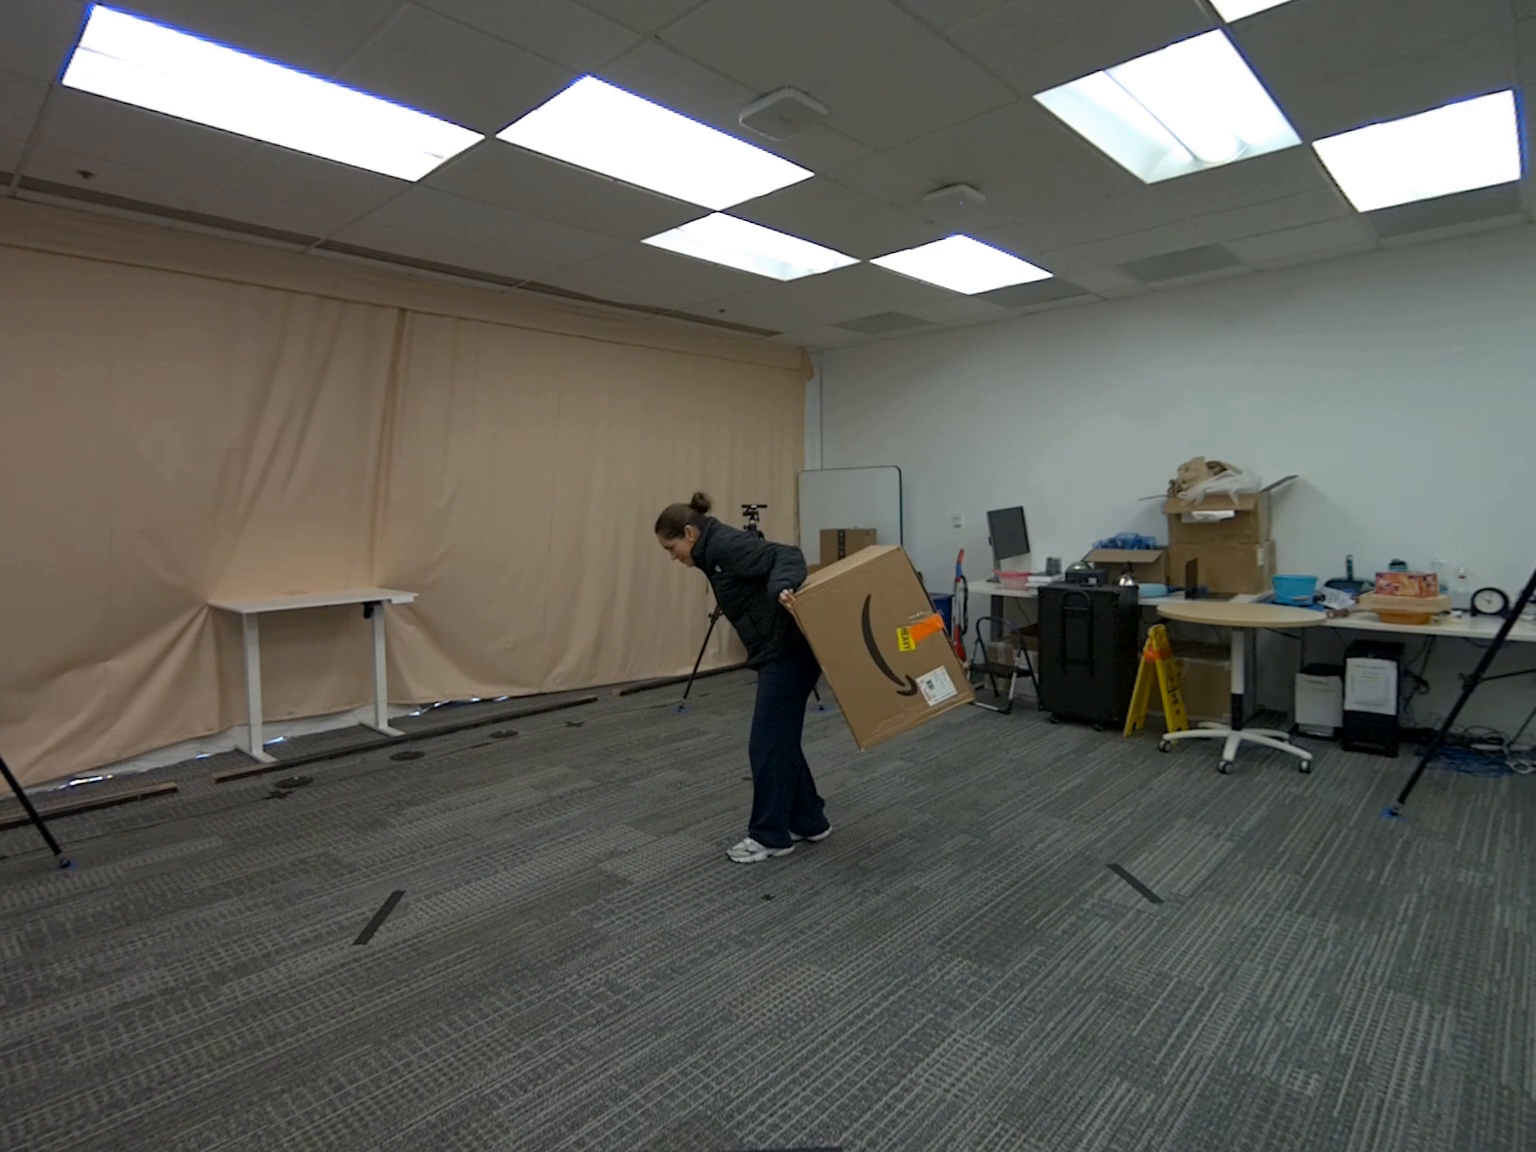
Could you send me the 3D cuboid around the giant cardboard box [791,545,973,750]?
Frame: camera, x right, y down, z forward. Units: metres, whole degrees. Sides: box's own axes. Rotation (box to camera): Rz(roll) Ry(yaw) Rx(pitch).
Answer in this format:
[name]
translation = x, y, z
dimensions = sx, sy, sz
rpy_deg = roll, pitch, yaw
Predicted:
[giant cardboard box]
translation = 0.409, 0.229, 3.330
dimensions = 0.427, 0.578, 1.023
rpy_deg = -26, 0, 2
